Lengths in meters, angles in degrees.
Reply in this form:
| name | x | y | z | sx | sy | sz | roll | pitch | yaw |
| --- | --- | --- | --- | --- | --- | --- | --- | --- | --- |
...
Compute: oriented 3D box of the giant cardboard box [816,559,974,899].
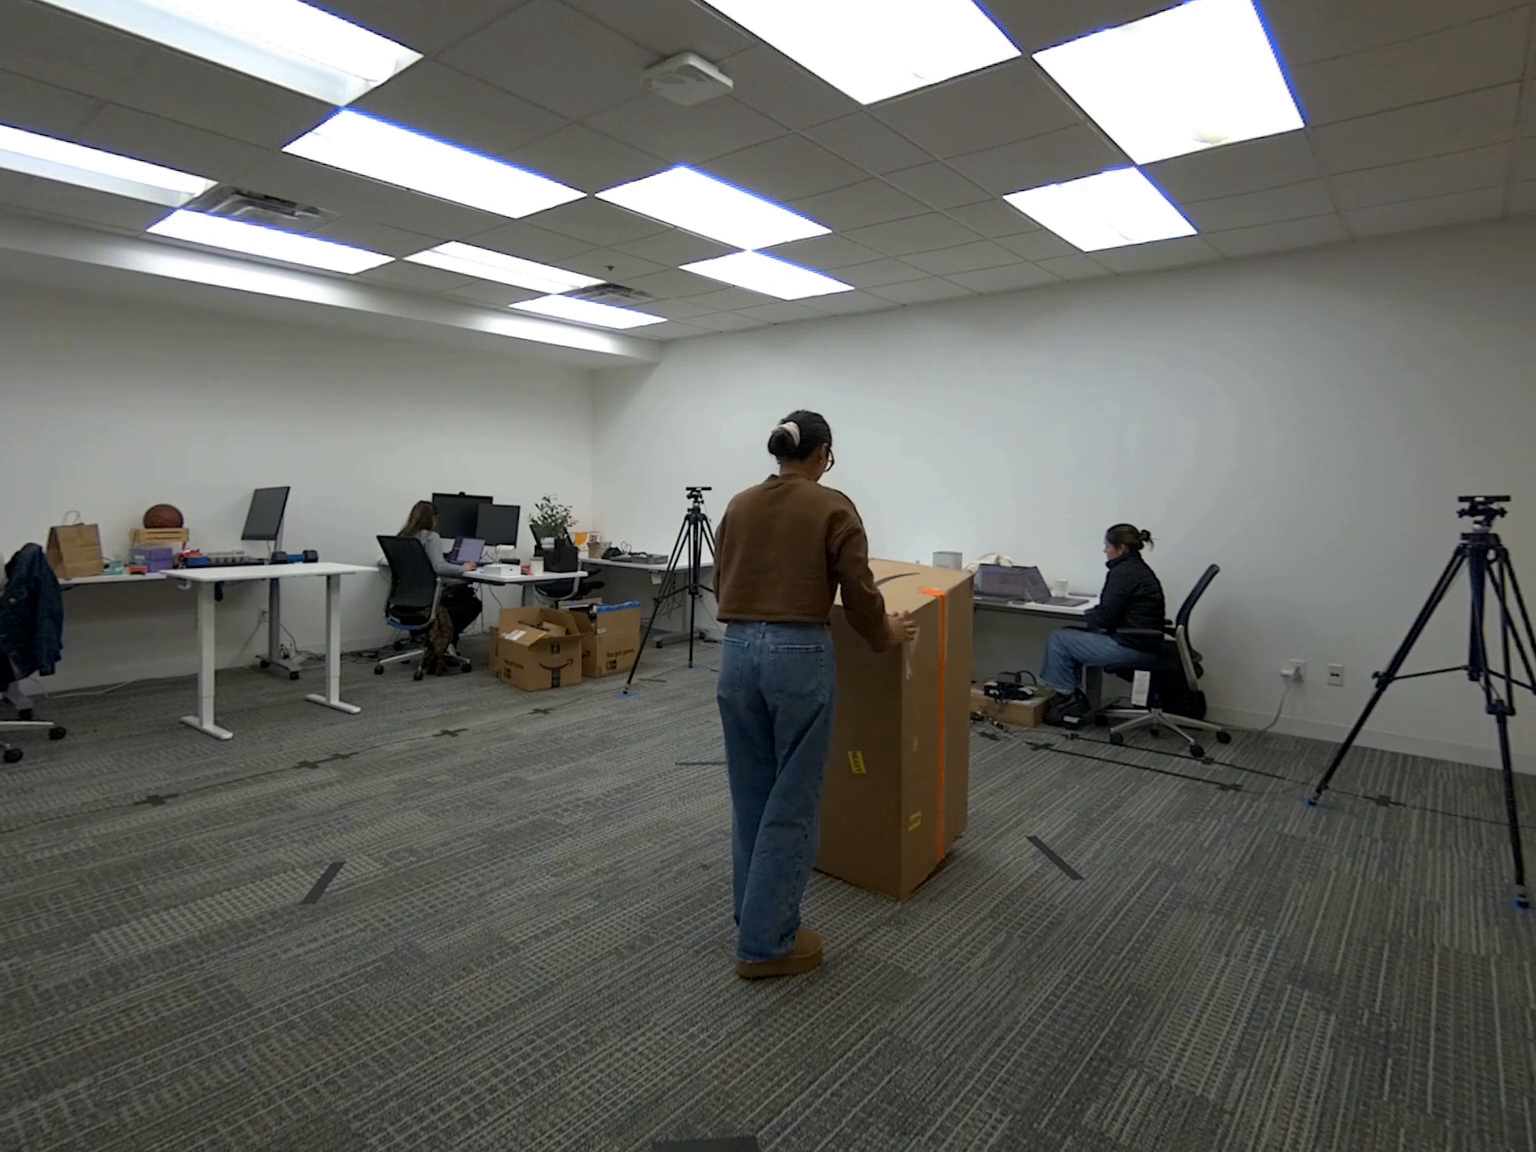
| name | x | y | z | sx | sy | sz | roll | pitch | yaw |
| --- | --- | --- | --- | --- | --- | --- | --- | --- | --- |
| giant cardboard box | 0.422 | 0.524 | 3.113 | 0.462 | 1.013 | 0.572 | 7 | 17 | 35 |
